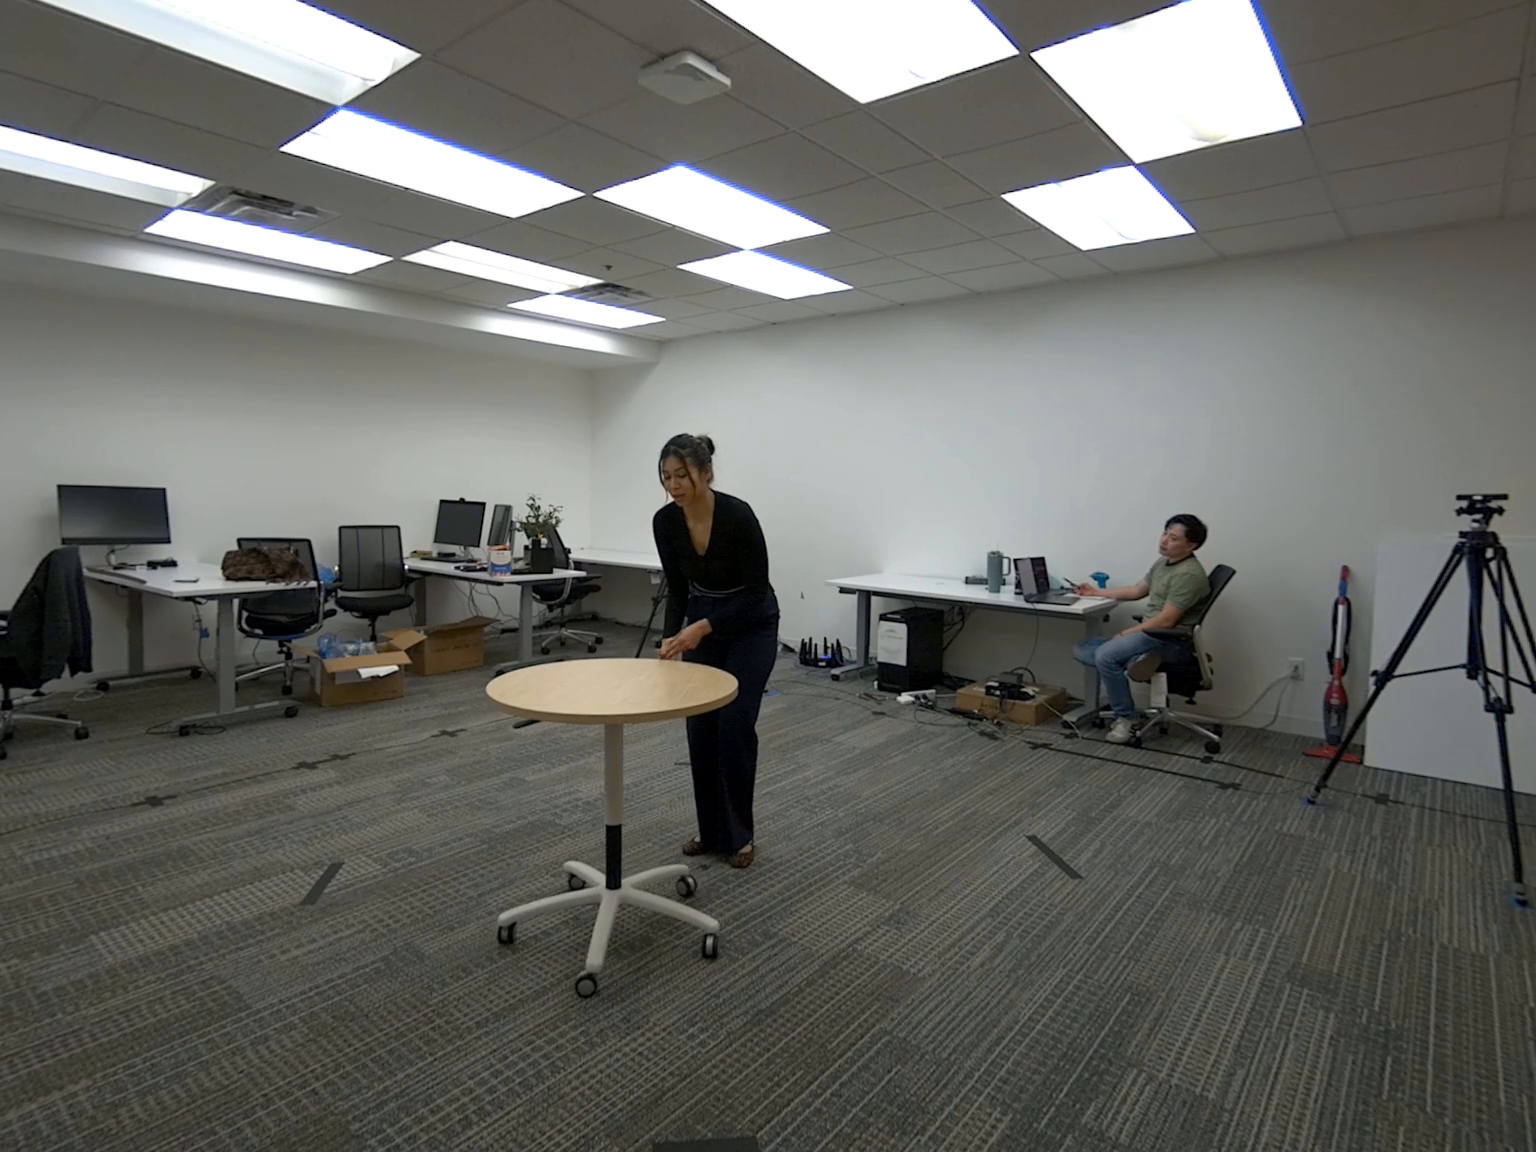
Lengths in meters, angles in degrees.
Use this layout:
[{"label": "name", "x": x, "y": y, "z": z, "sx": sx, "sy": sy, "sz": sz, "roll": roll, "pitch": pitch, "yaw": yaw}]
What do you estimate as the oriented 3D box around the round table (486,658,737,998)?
[{"label": "round table", "x": -0.493, "y": 0.719, "z": 2.641, "sx": 0.763, "sy": 0.791, "sz": 0.768, "roll": 0, "pitch": 4, "yaw": -2}]
